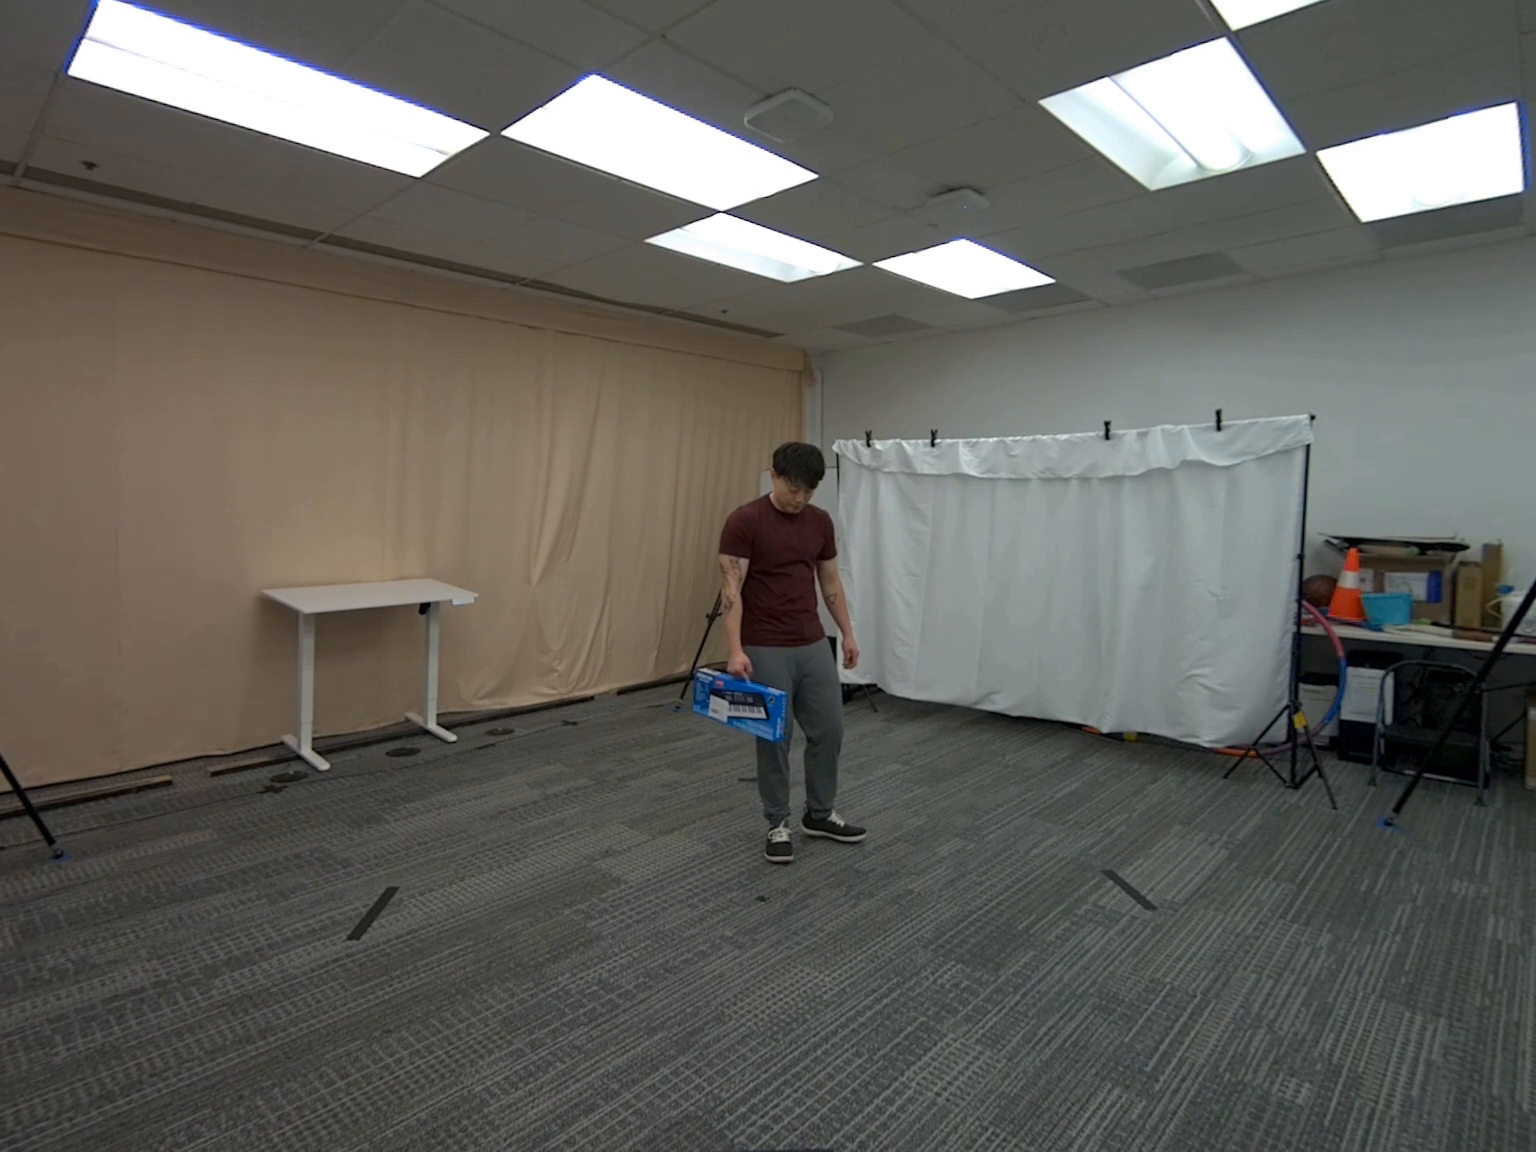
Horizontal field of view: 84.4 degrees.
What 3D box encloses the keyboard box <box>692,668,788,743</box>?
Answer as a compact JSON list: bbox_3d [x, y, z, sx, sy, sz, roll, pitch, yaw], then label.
[{"bbox_3d":[-0.106,0.482,3.198,0.452,0.175,0.057,10,7,43],"label":"keyboard box"}]
